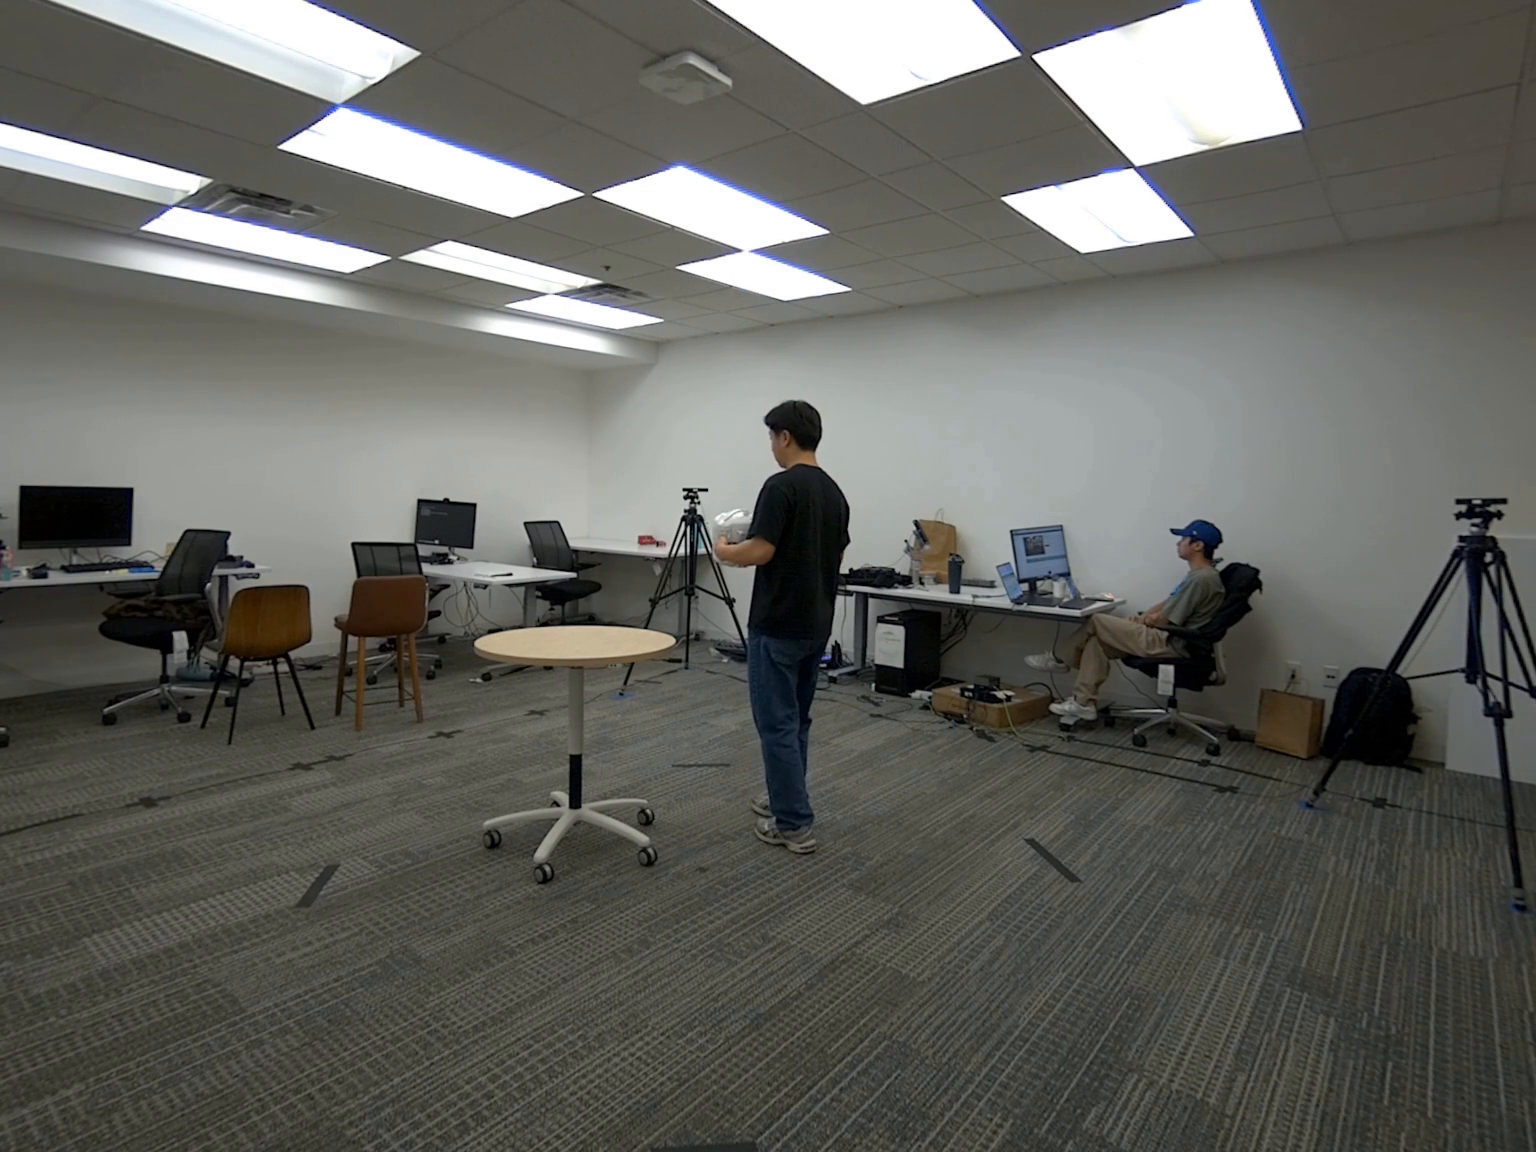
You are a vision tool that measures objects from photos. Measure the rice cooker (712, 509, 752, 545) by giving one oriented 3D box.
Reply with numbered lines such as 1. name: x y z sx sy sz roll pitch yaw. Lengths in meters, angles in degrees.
1. rice cooker: -0.139 -0.171 3.586 0.225 0.230 0.216 9 14 34
